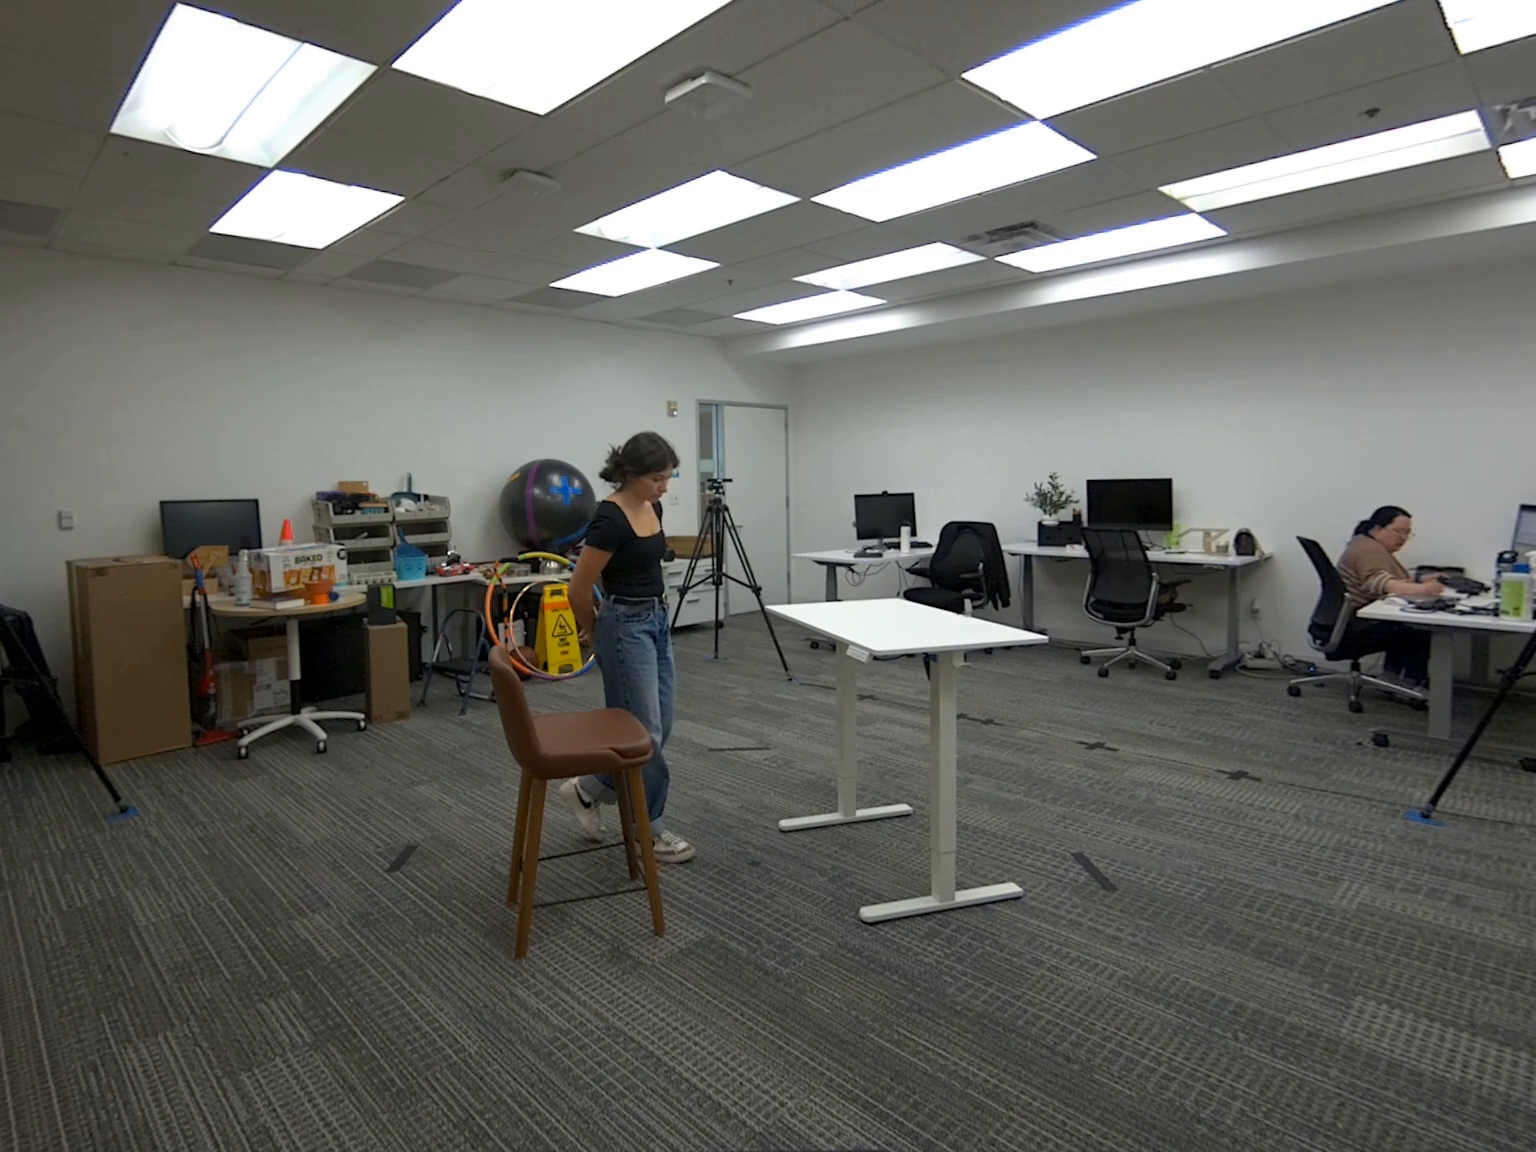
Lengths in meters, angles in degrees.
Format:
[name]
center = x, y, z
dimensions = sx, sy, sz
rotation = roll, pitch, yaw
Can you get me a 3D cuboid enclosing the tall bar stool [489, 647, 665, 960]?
[tall bar stool]
center = -0.607, 0.666, 2.722
dimensions = 0.460, 0.886, 0.466
rotation = -4, 5, -20
